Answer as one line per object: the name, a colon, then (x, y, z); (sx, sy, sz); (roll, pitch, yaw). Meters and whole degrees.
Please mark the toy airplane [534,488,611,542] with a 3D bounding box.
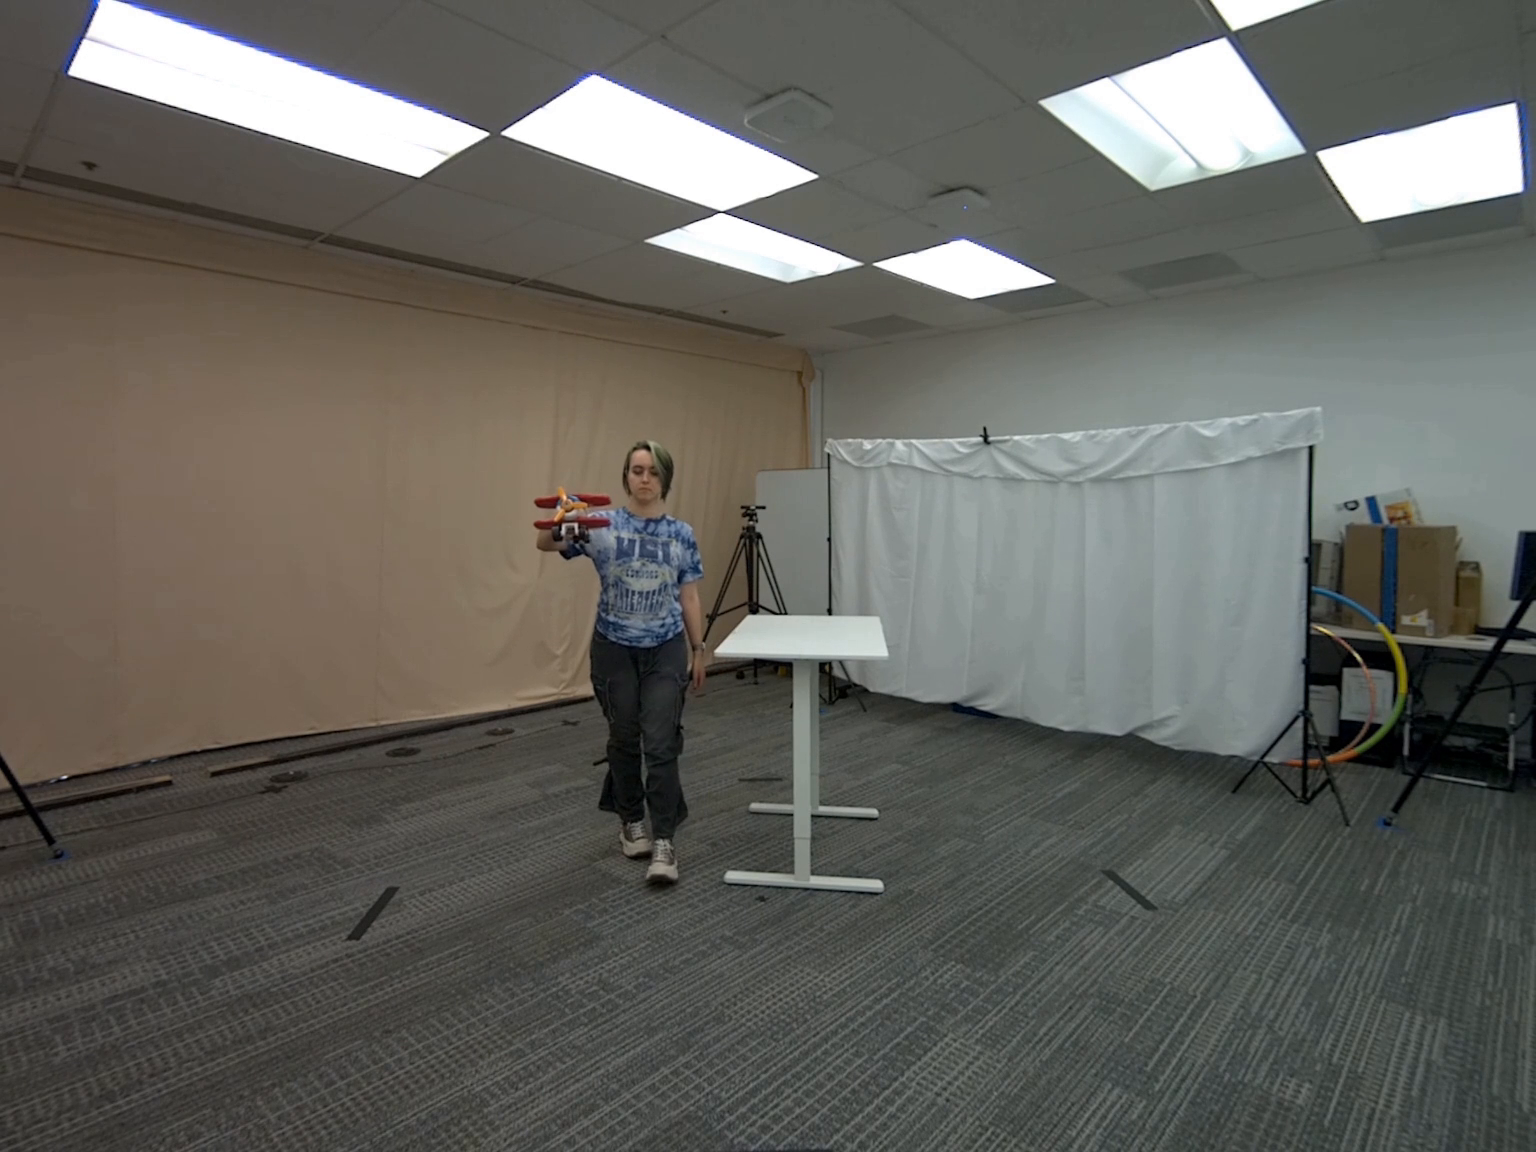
toy airplane: (-0.666, -0.191, 2.834); (0.245, 0.157, 0.265); (-1, -2, -26)
